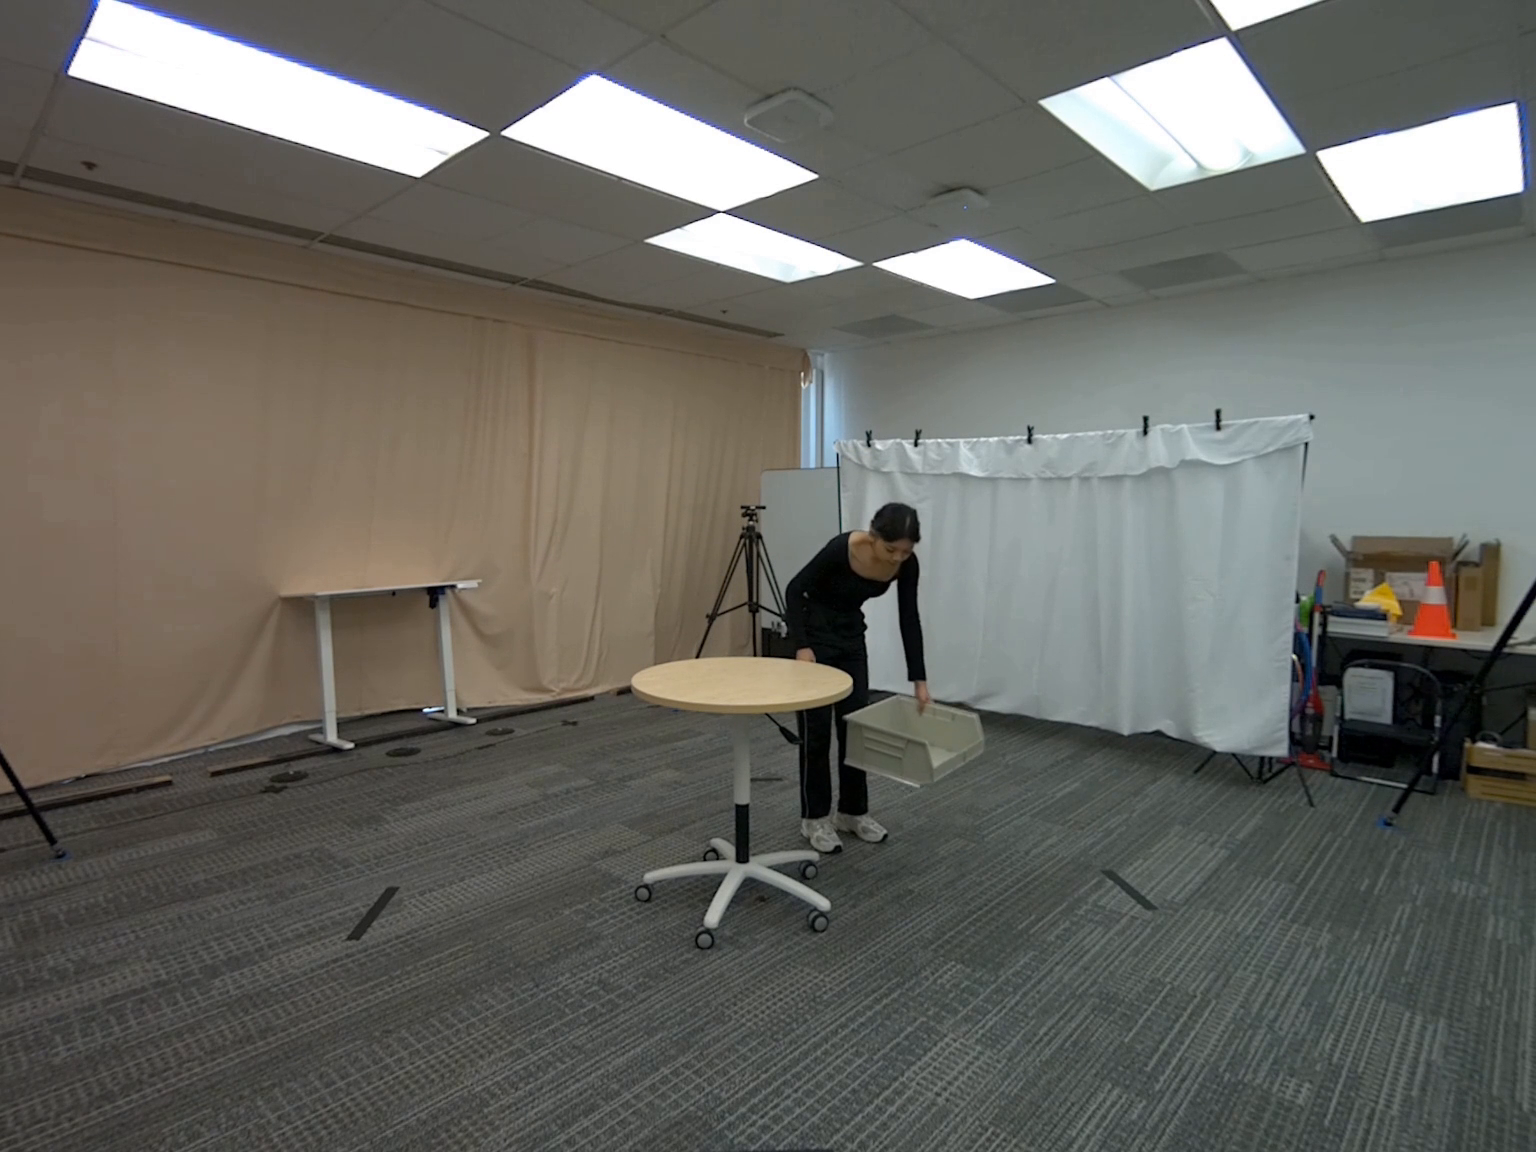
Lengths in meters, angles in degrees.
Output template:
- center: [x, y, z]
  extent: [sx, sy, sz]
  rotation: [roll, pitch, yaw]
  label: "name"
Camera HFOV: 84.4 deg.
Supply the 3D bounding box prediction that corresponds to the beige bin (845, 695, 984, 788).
- center: [0.557, 0.620, 3.180]
  extent: [0.390, 0.188, 0.410]
  rotation: [7, 11, 39]
  label: "beige bin"
